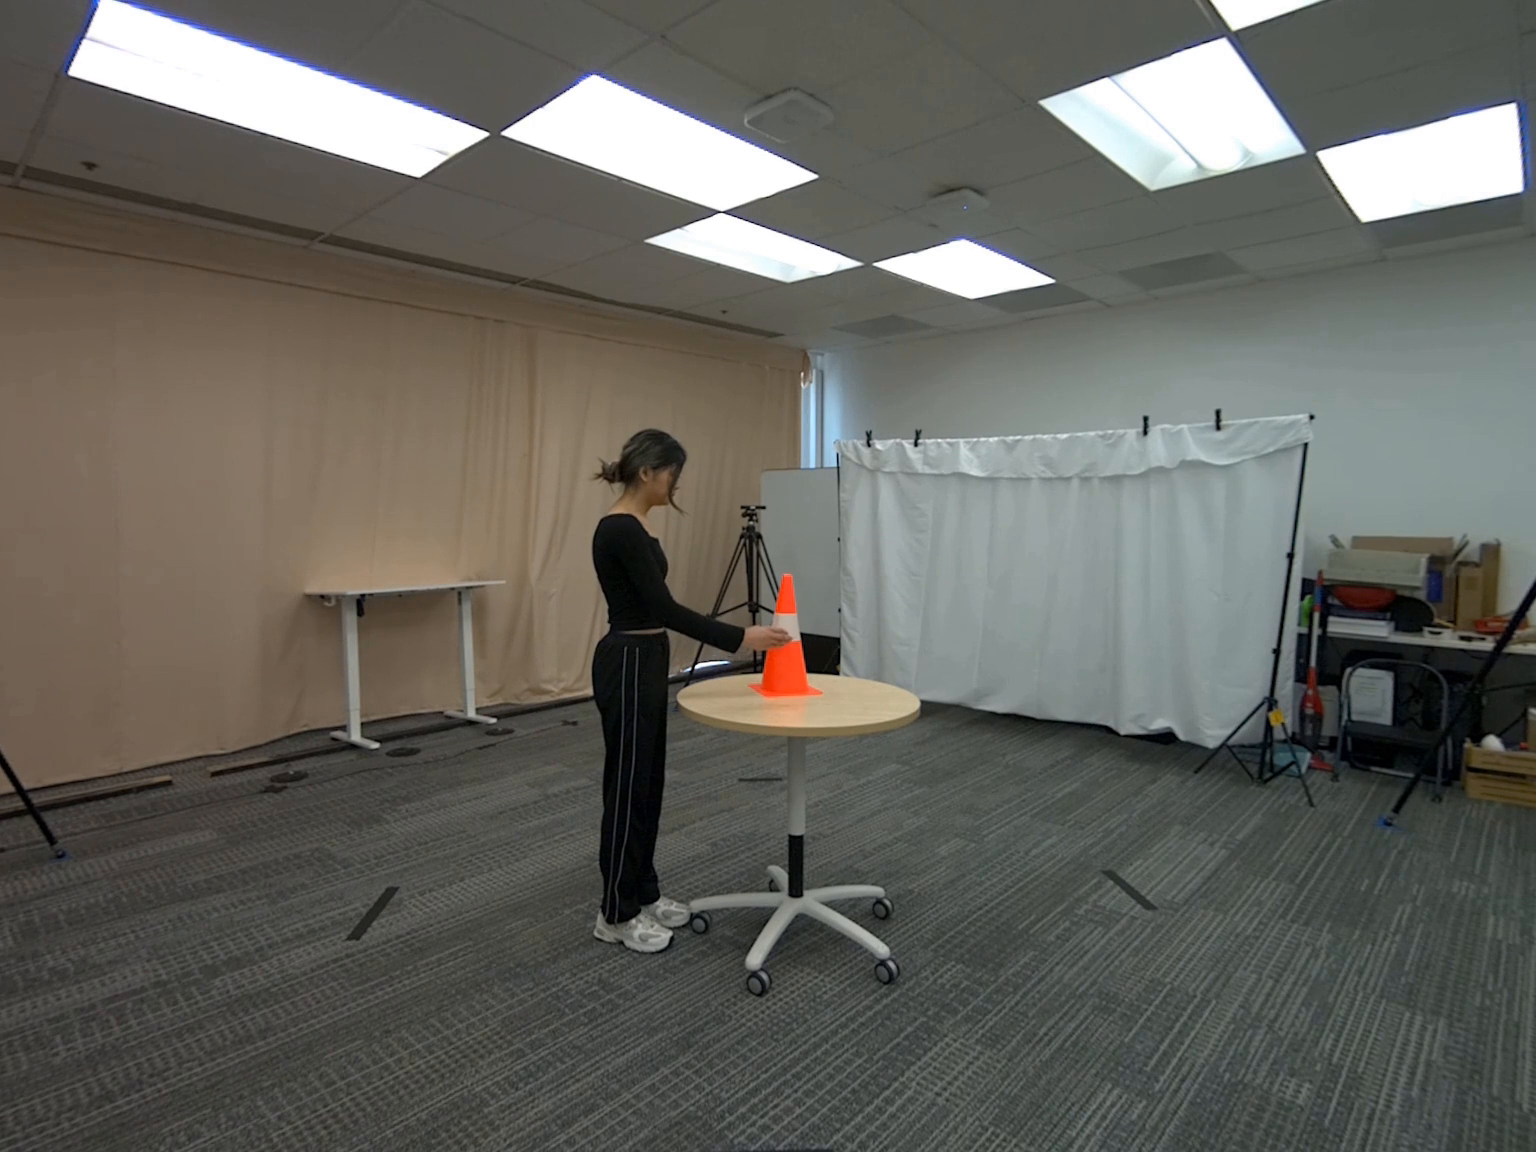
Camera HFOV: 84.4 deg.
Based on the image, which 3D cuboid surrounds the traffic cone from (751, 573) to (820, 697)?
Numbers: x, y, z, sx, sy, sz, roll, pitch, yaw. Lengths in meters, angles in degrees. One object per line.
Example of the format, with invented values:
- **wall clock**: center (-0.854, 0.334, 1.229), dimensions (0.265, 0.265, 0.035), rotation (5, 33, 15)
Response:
- **traffic cone**: center (0.059, 0.190, 2.762), dimensions (0.200, 0.382, 0.209), rotation (-1, 5, -15)
